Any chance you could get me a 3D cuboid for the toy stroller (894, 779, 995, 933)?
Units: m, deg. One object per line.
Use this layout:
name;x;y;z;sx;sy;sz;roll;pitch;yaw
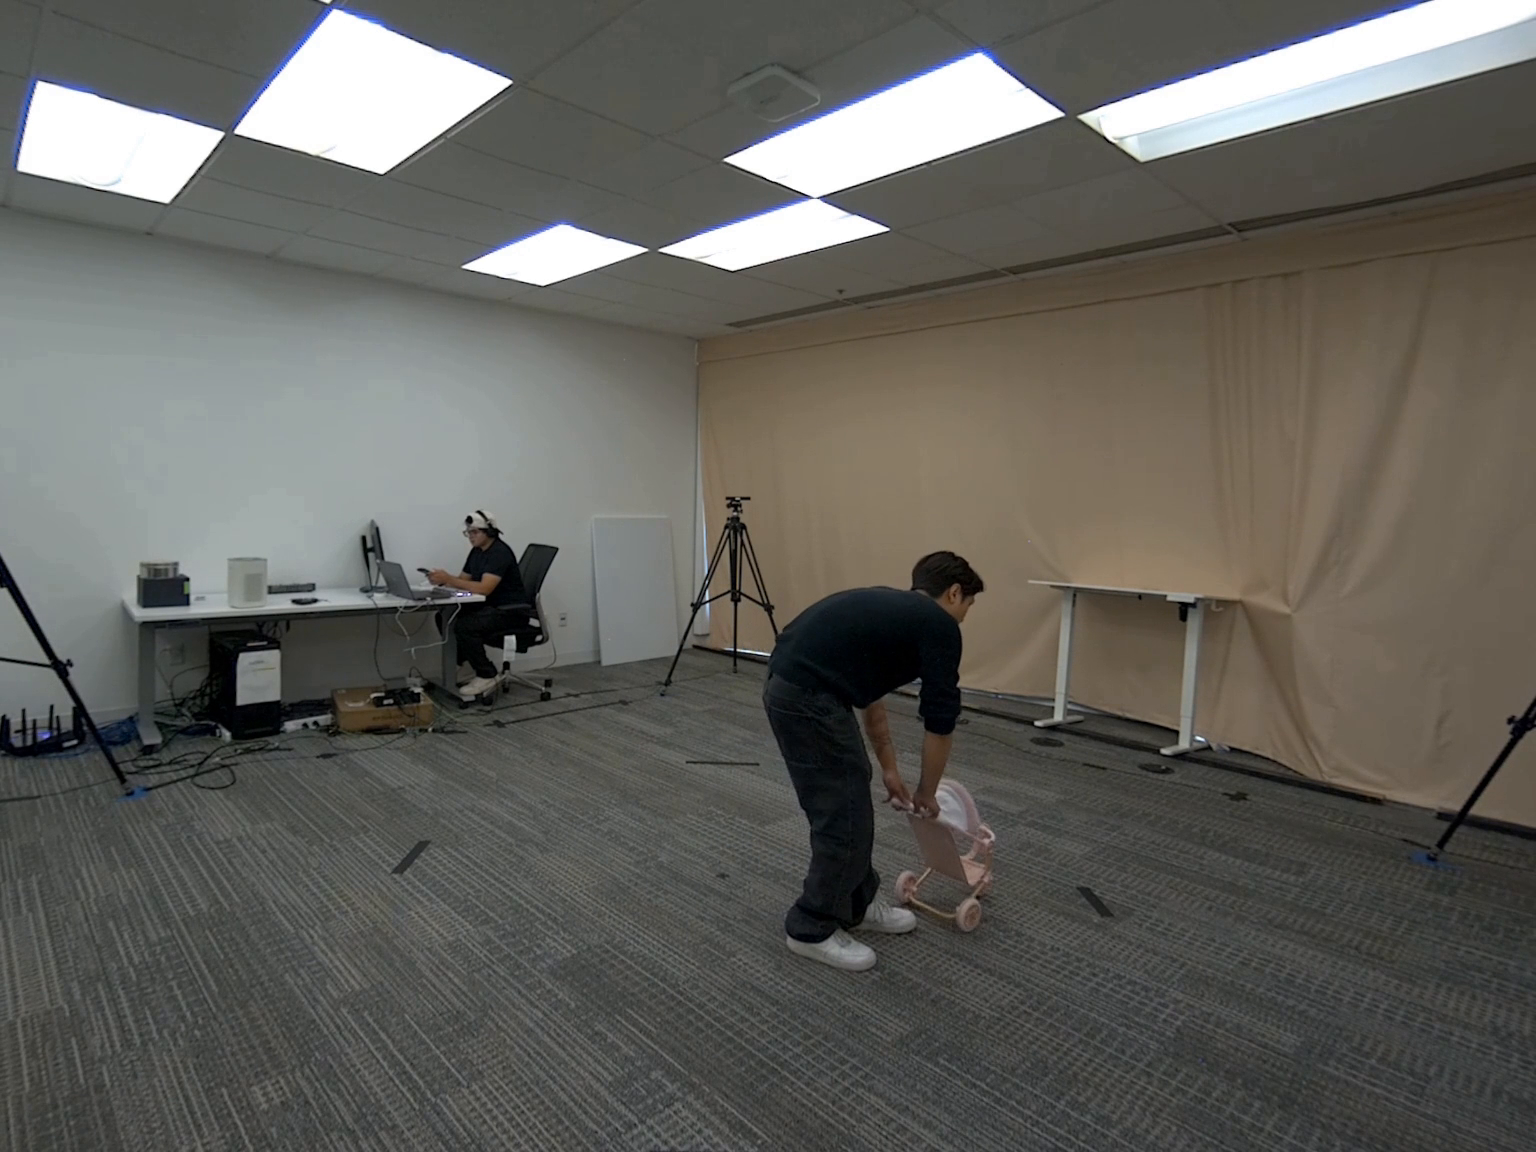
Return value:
toy stroller;0.620;0.921;2.868;0.337;0.528;0.289;-22;18;-36
